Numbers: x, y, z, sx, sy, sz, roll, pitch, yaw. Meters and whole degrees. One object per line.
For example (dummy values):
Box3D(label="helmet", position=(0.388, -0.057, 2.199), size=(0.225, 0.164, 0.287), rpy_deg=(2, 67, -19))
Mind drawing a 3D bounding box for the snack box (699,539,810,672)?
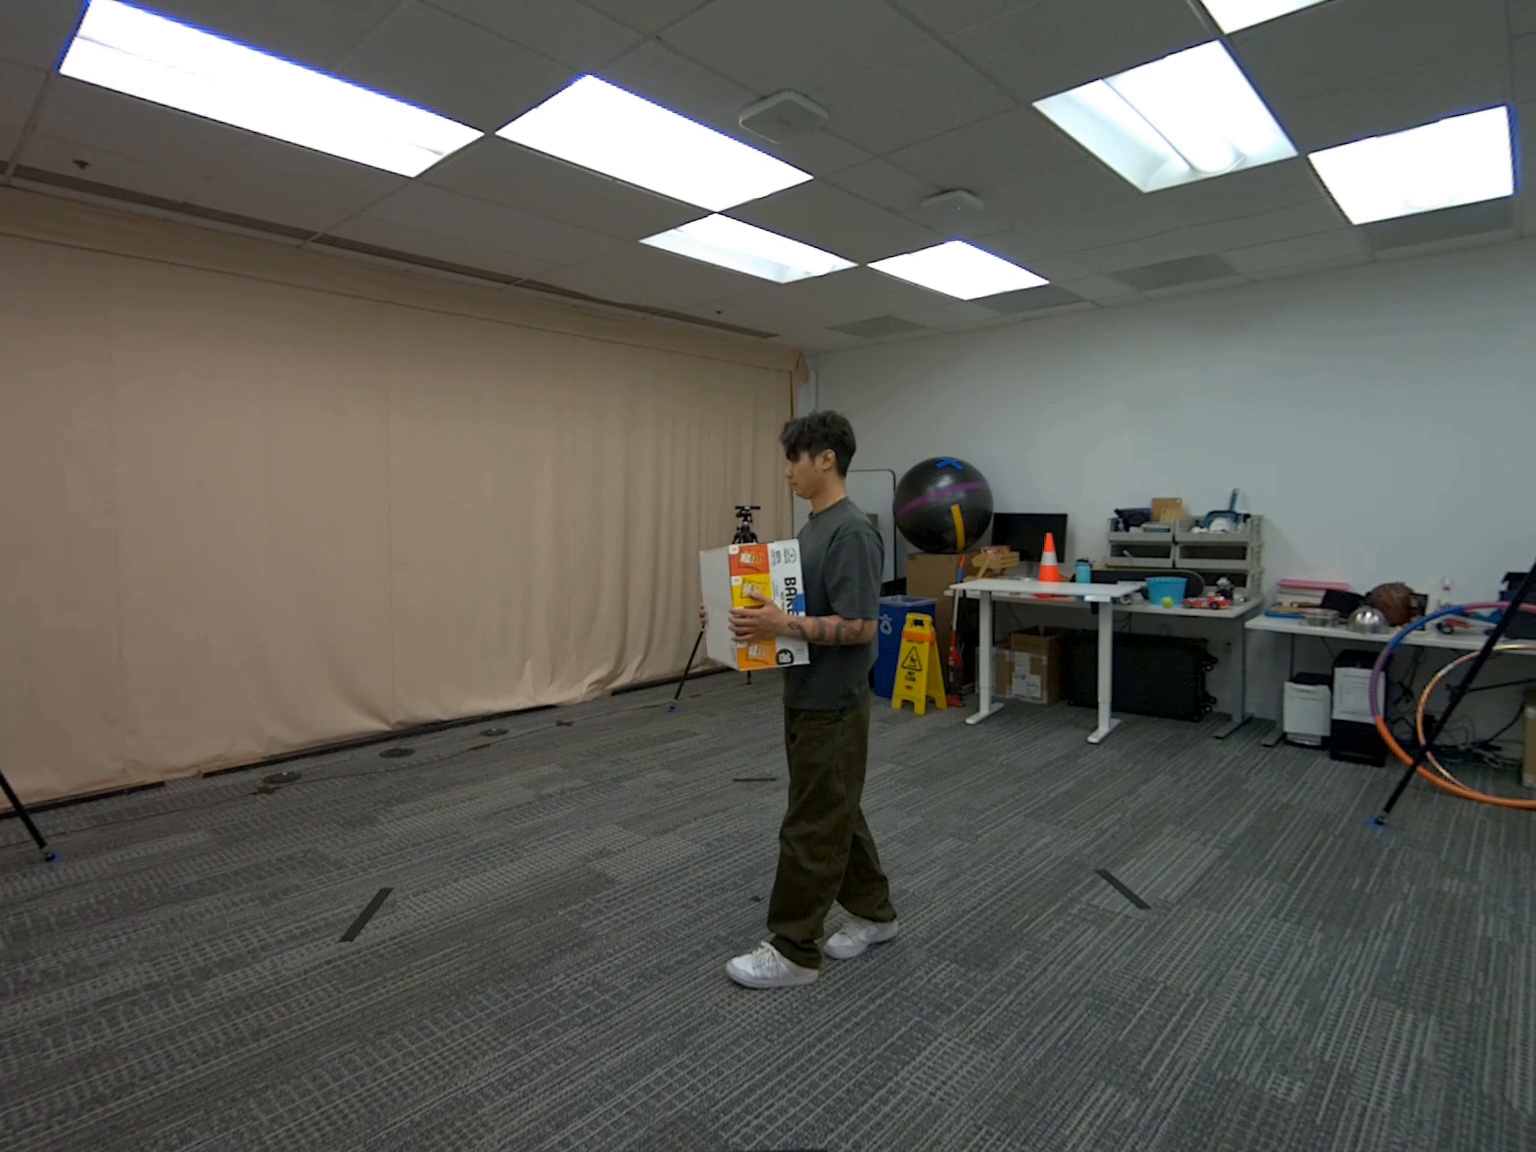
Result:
Box3D(label="snack box", position=(-0.048, 0.081, 2.469), size=(0.203, 0.341, 0.411), rpy_deg=(-4, -1, -15))
